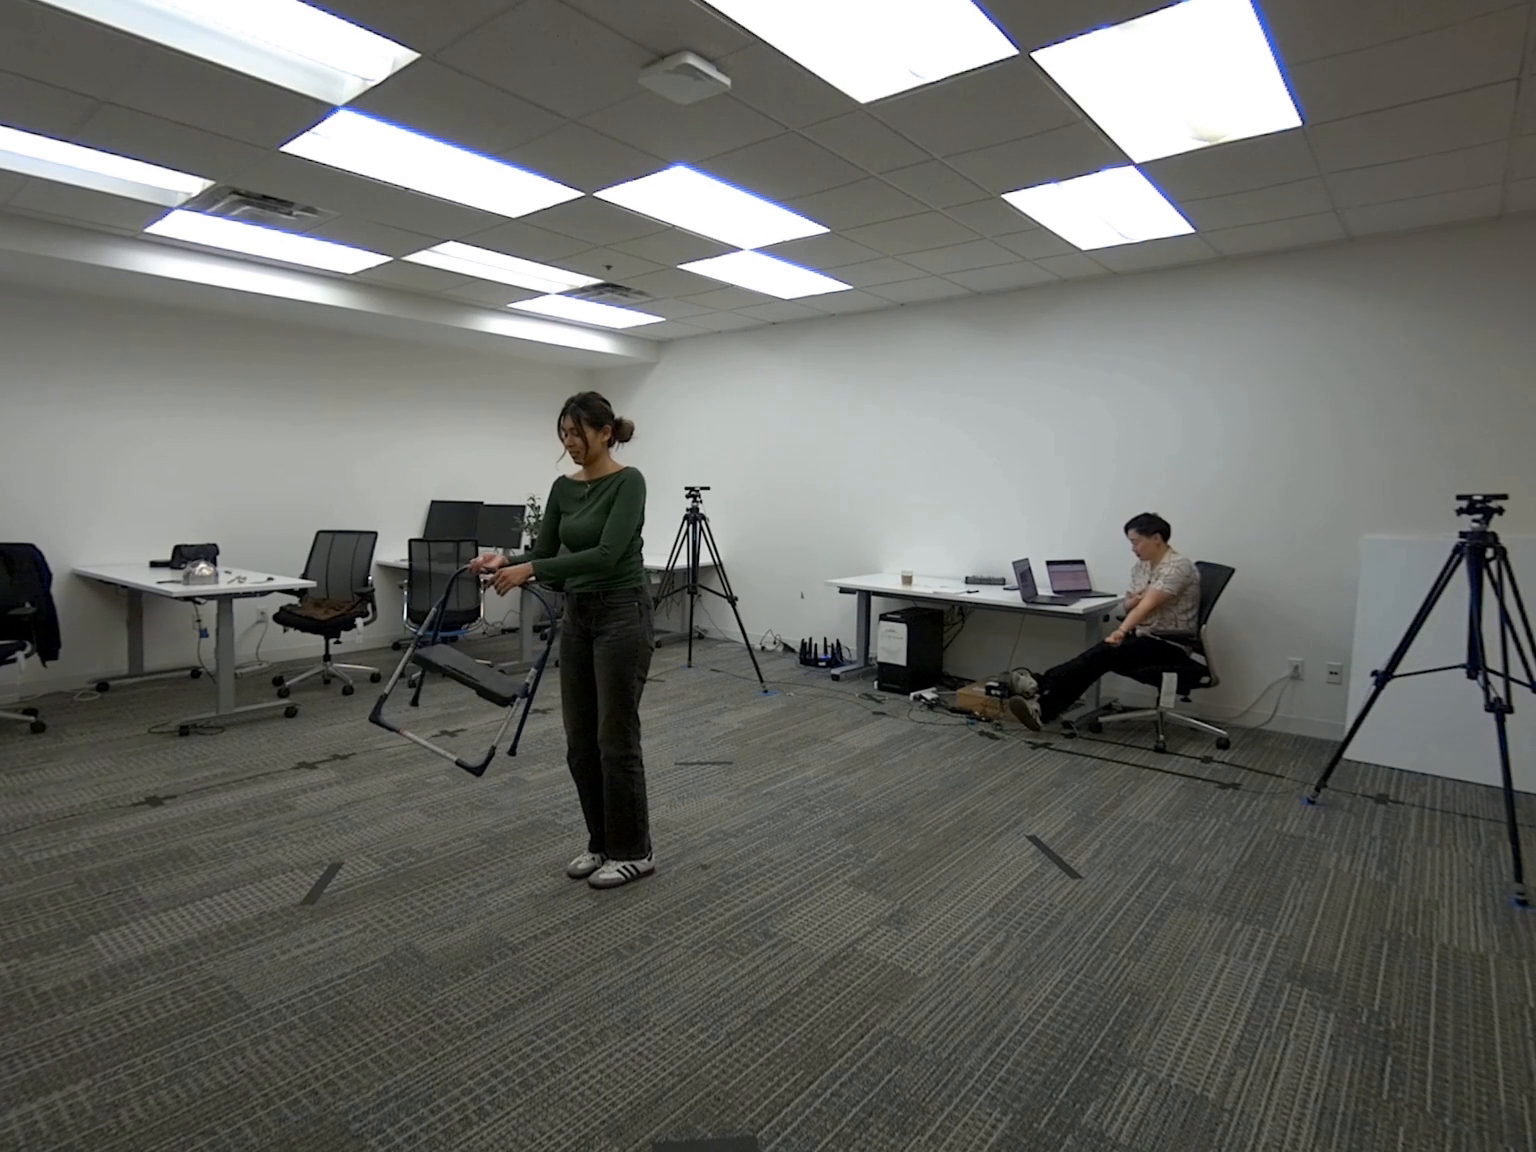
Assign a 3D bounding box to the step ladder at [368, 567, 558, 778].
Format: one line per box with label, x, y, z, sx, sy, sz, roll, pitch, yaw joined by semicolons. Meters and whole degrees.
step ladder;-0.971;0.281;2.855;0.434;0.606;0.347;25;-1;4
